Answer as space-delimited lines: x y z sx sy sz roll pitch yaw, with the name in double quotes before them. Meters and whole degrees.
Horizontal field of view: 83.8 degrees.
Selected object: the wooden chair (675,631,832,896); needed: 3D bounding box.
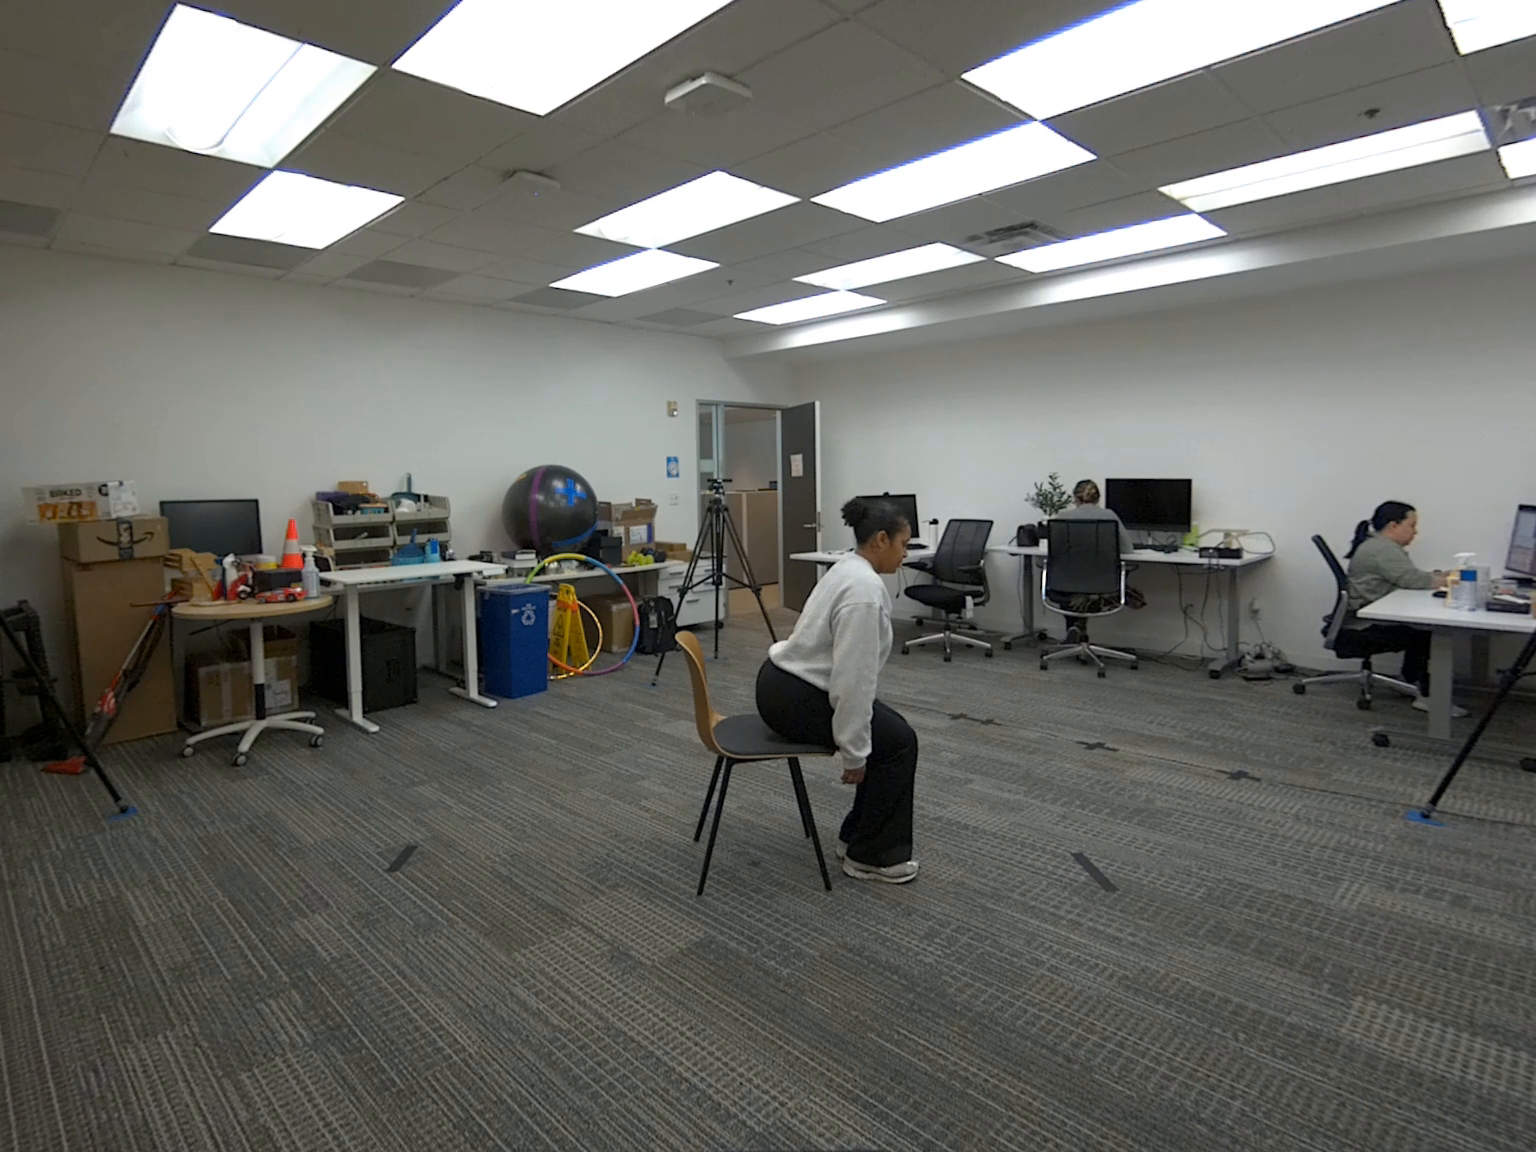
"wooden chair" -0.033 0.619 3.072 0.521 0.874 0.482 -5 4 -5
